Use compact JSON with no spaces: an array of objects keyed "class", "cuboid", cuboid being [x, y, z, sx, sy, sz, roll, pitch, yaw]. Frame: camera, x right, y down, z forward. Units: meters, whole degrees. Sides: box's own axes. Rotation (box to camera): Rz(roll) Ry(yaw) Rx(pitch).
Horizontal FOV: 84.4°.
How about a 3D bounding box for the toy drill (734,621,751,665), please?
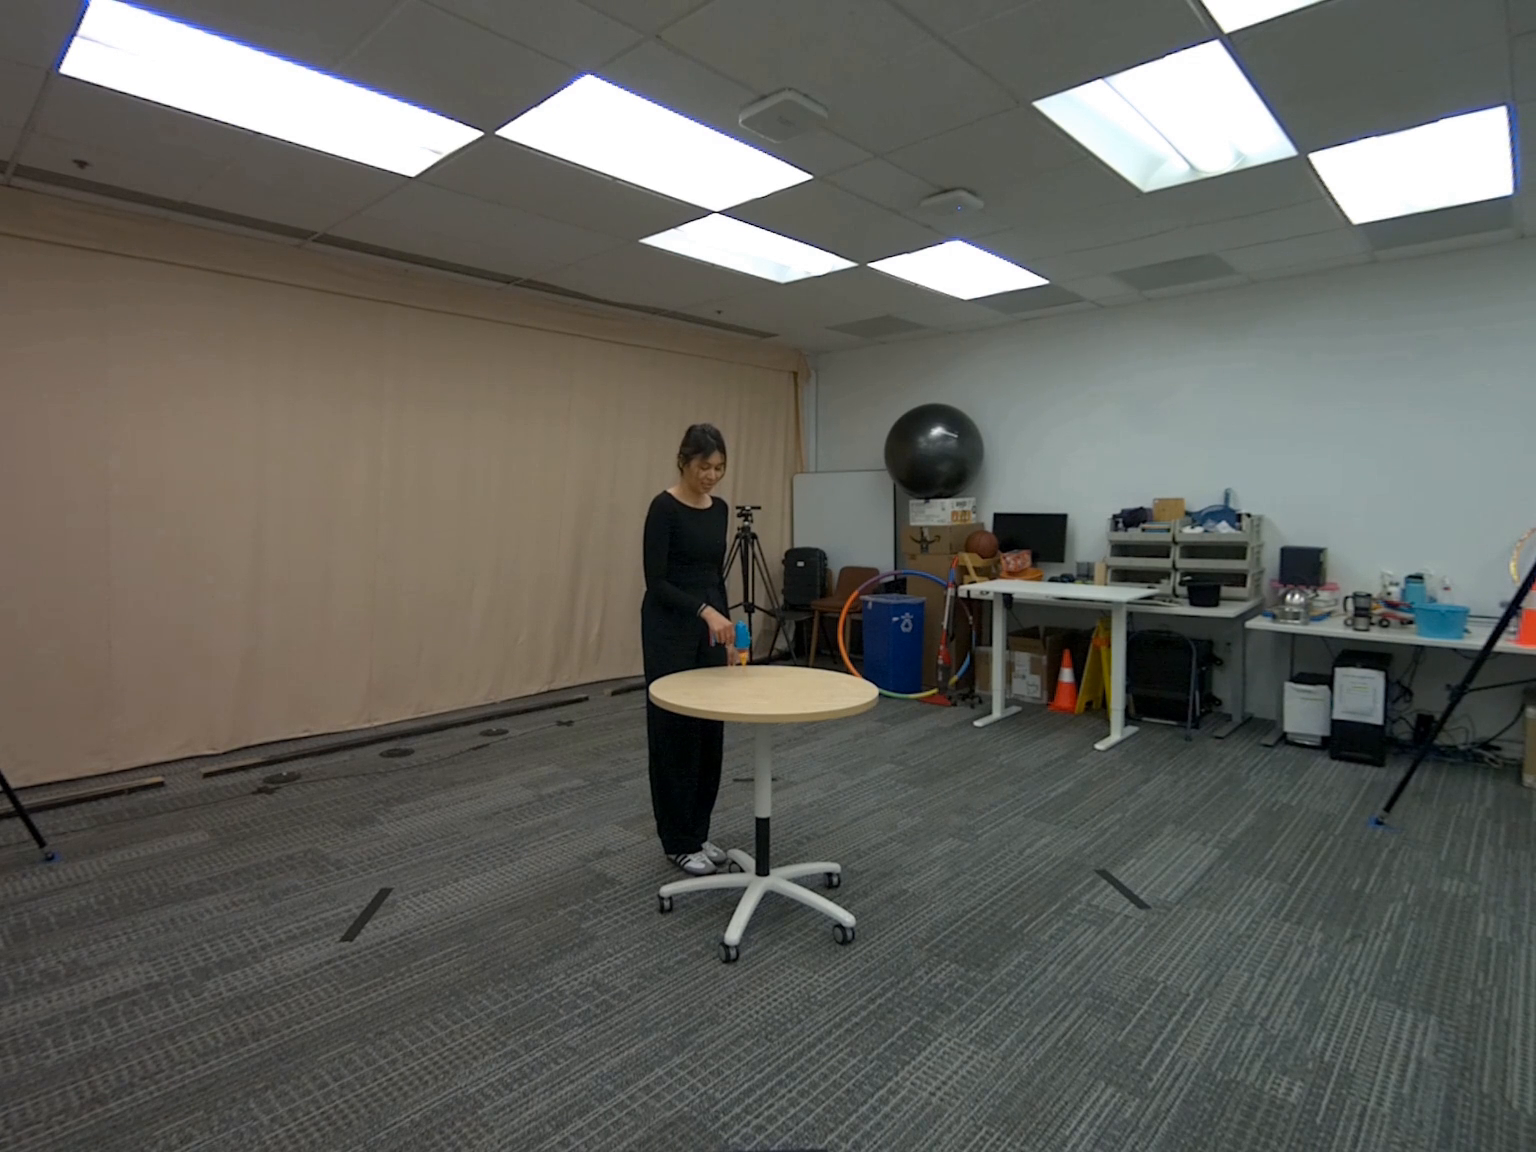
[{"class":"toy drill","cuboid":[-0.142,0.256,3.051,0.147,0.168,0.061,-3,15,5]}]
